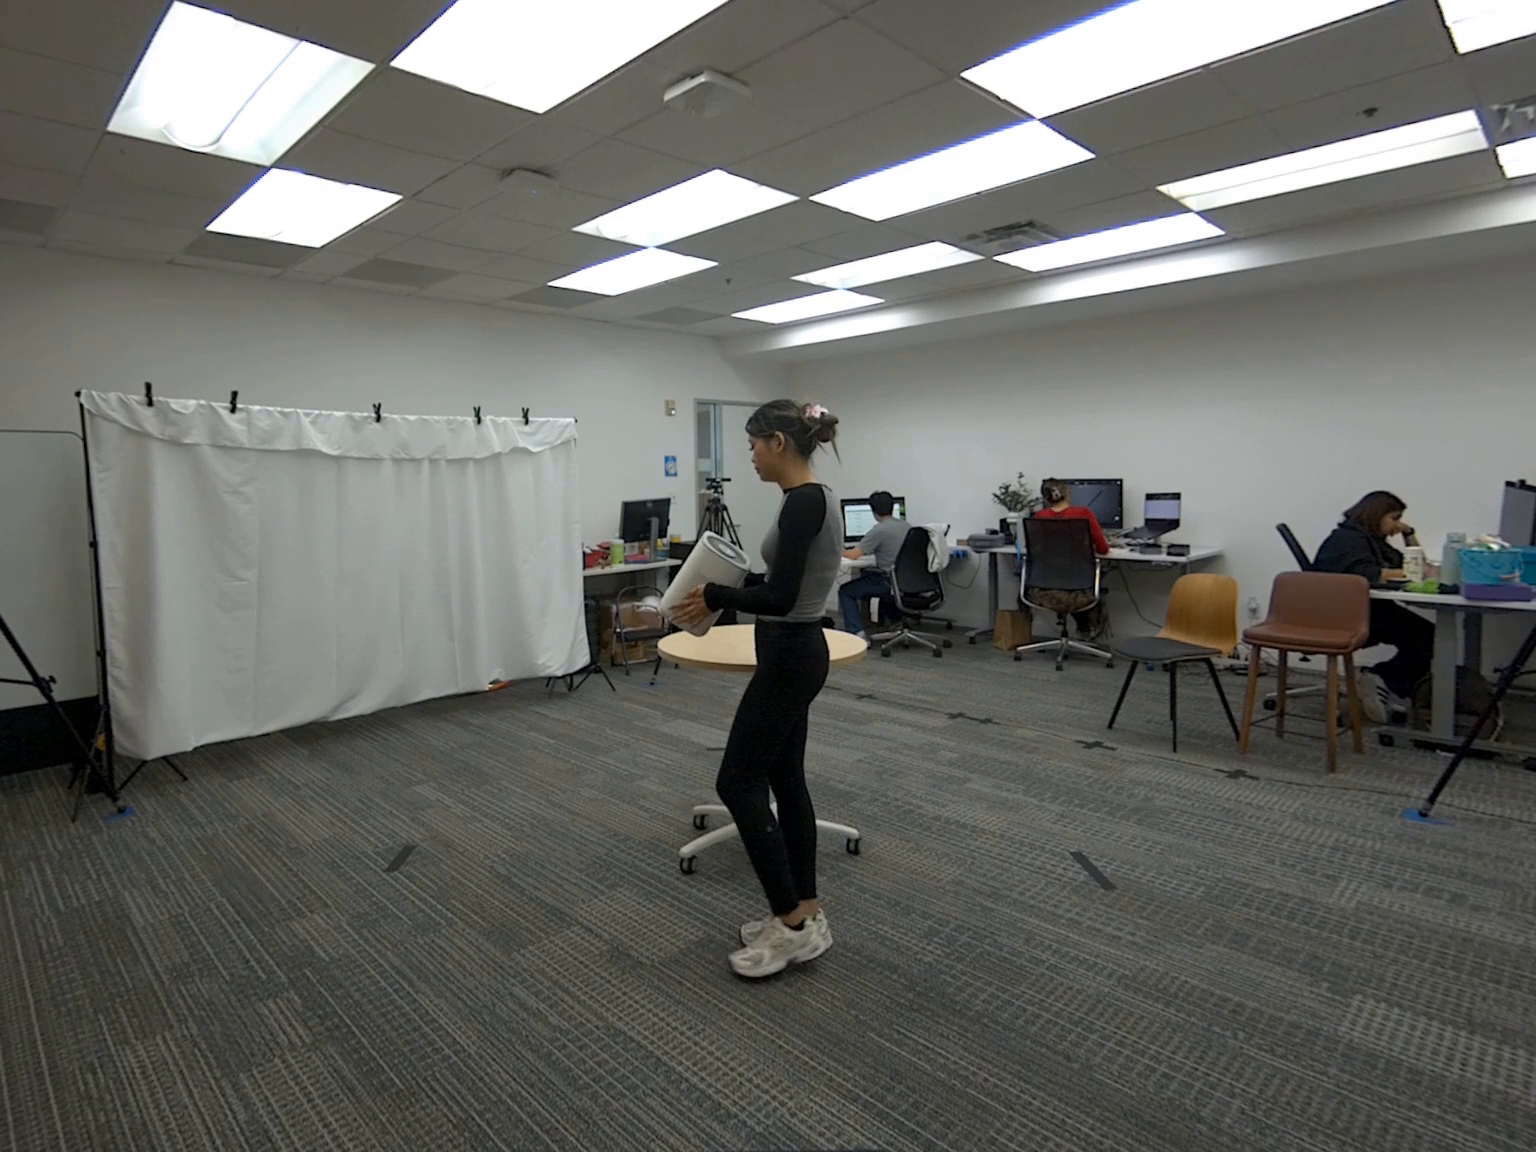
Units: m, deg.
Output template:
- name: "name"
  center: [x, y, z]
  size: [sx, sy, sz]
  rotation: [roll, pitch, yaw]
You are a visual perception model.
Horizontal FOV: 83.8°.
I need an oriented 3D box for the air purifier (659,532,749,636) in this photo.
- name: "air purifier"
  center: [-0.184, 0.029, 2.562]
  size: [0.170, 0.264, 0.173]
  rotation: [32, 13, -8]
